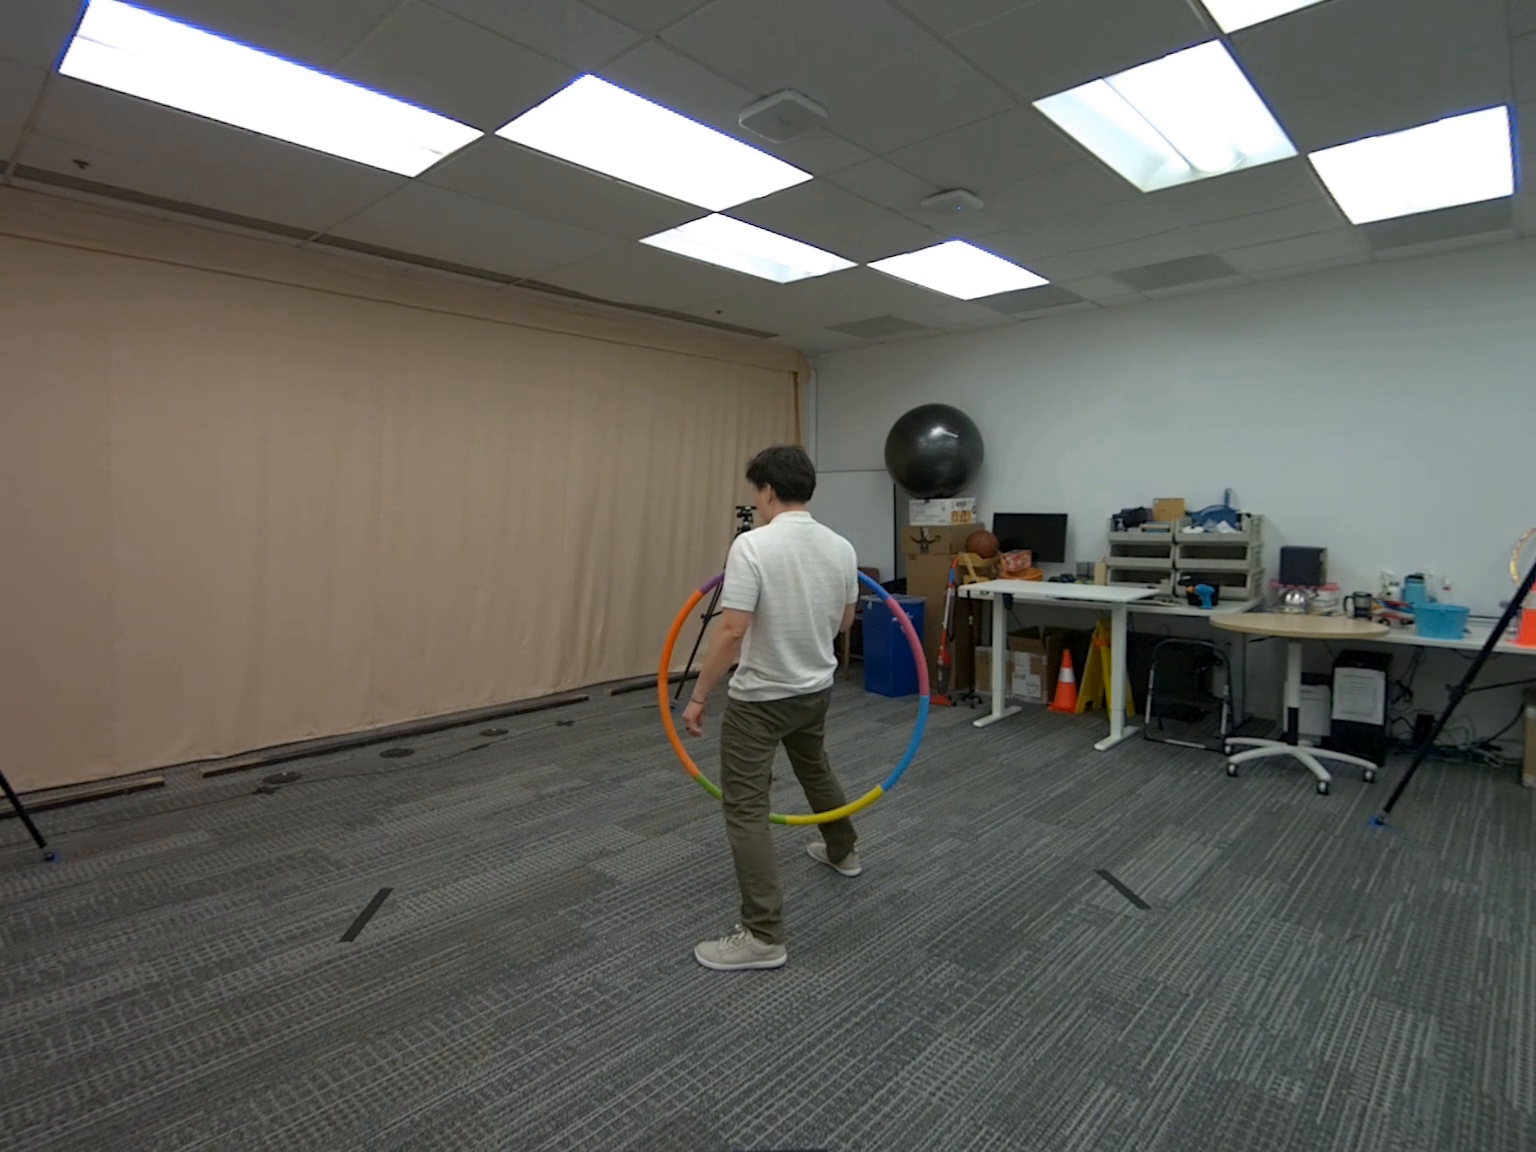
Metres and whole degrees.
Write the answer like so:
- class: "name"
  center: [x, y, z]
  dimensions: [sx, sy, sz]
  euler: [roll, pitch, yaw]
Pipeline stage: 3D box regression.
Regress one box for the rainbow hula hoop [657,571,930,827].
- class: "rainbow hula hoop"
  center: [0.083, 0.402, 3.060]
  dimensions: [0.989, 0.979, 0.035]
  euler: [1, -1, 9]
